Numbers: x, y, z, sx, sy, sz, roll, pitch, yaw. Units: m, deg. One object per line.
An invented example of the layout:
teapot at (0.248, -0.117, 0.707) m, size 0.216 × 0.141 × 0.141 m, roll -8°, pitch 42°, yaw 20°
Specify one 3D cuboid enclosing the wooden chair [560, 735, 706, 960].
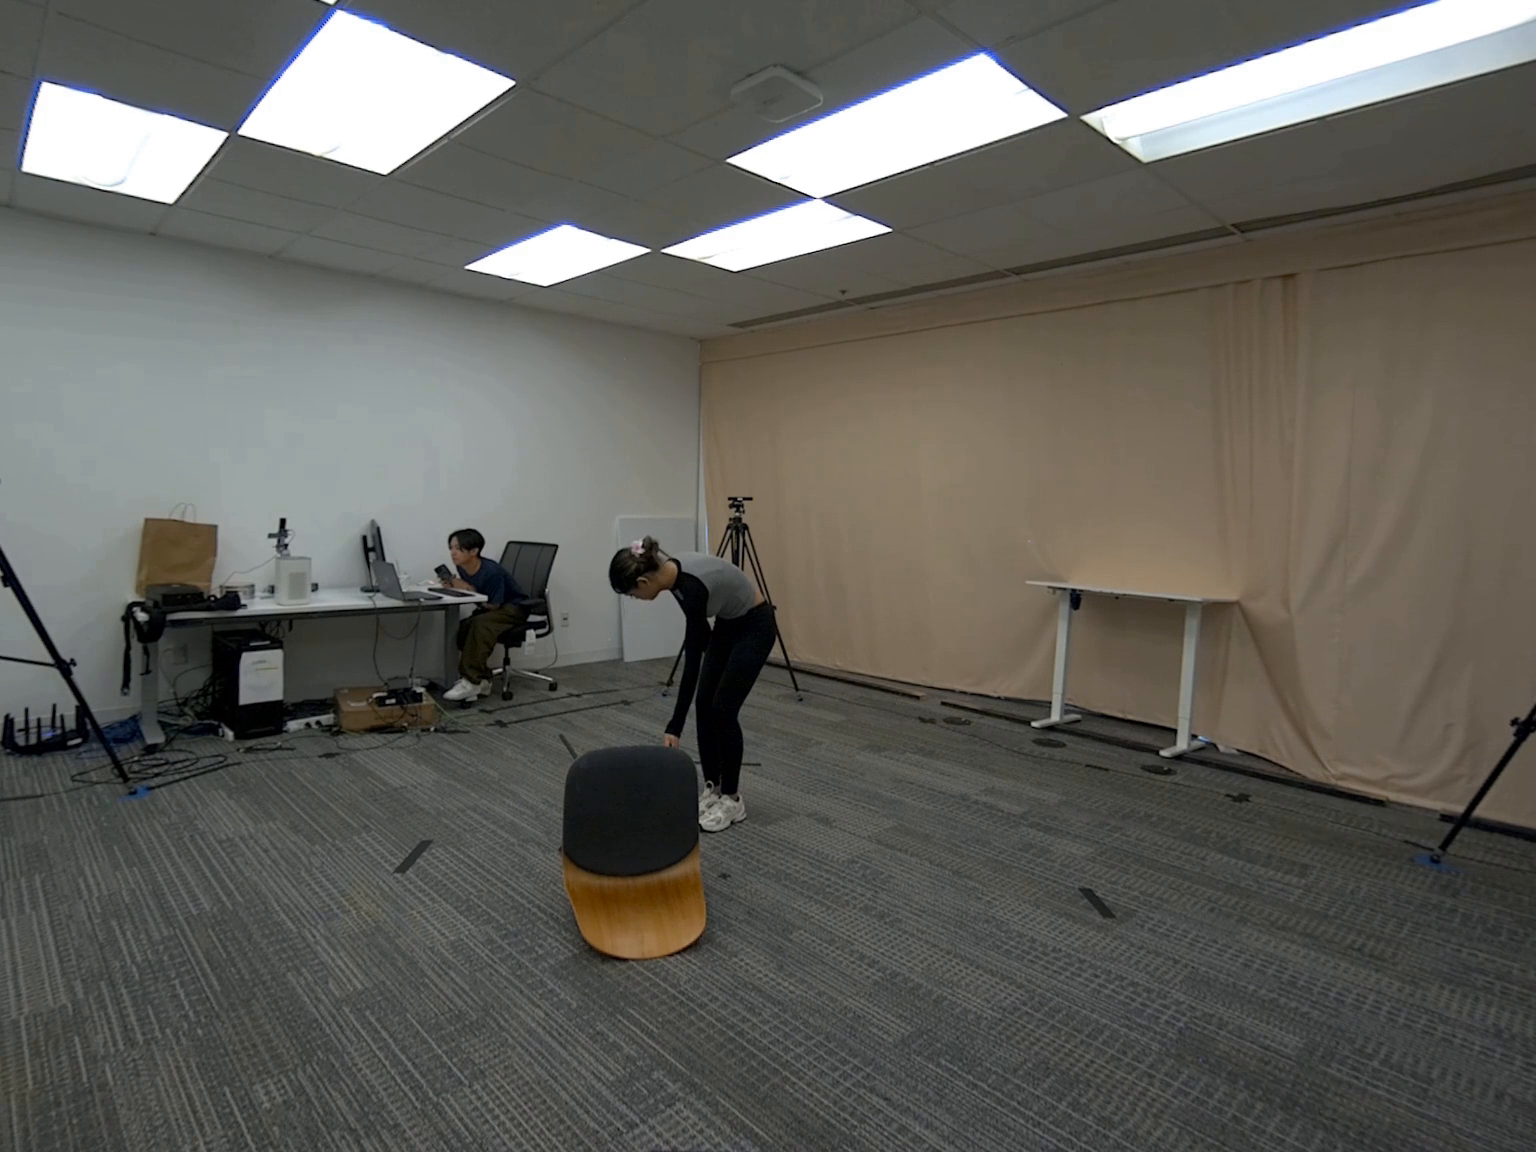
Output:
wooden chair at (-0.487, 0.855, 2.932) m, size 0.472 × 0.521 × 0.890 m, roll 1°, pitch 6°, yaw -15°
